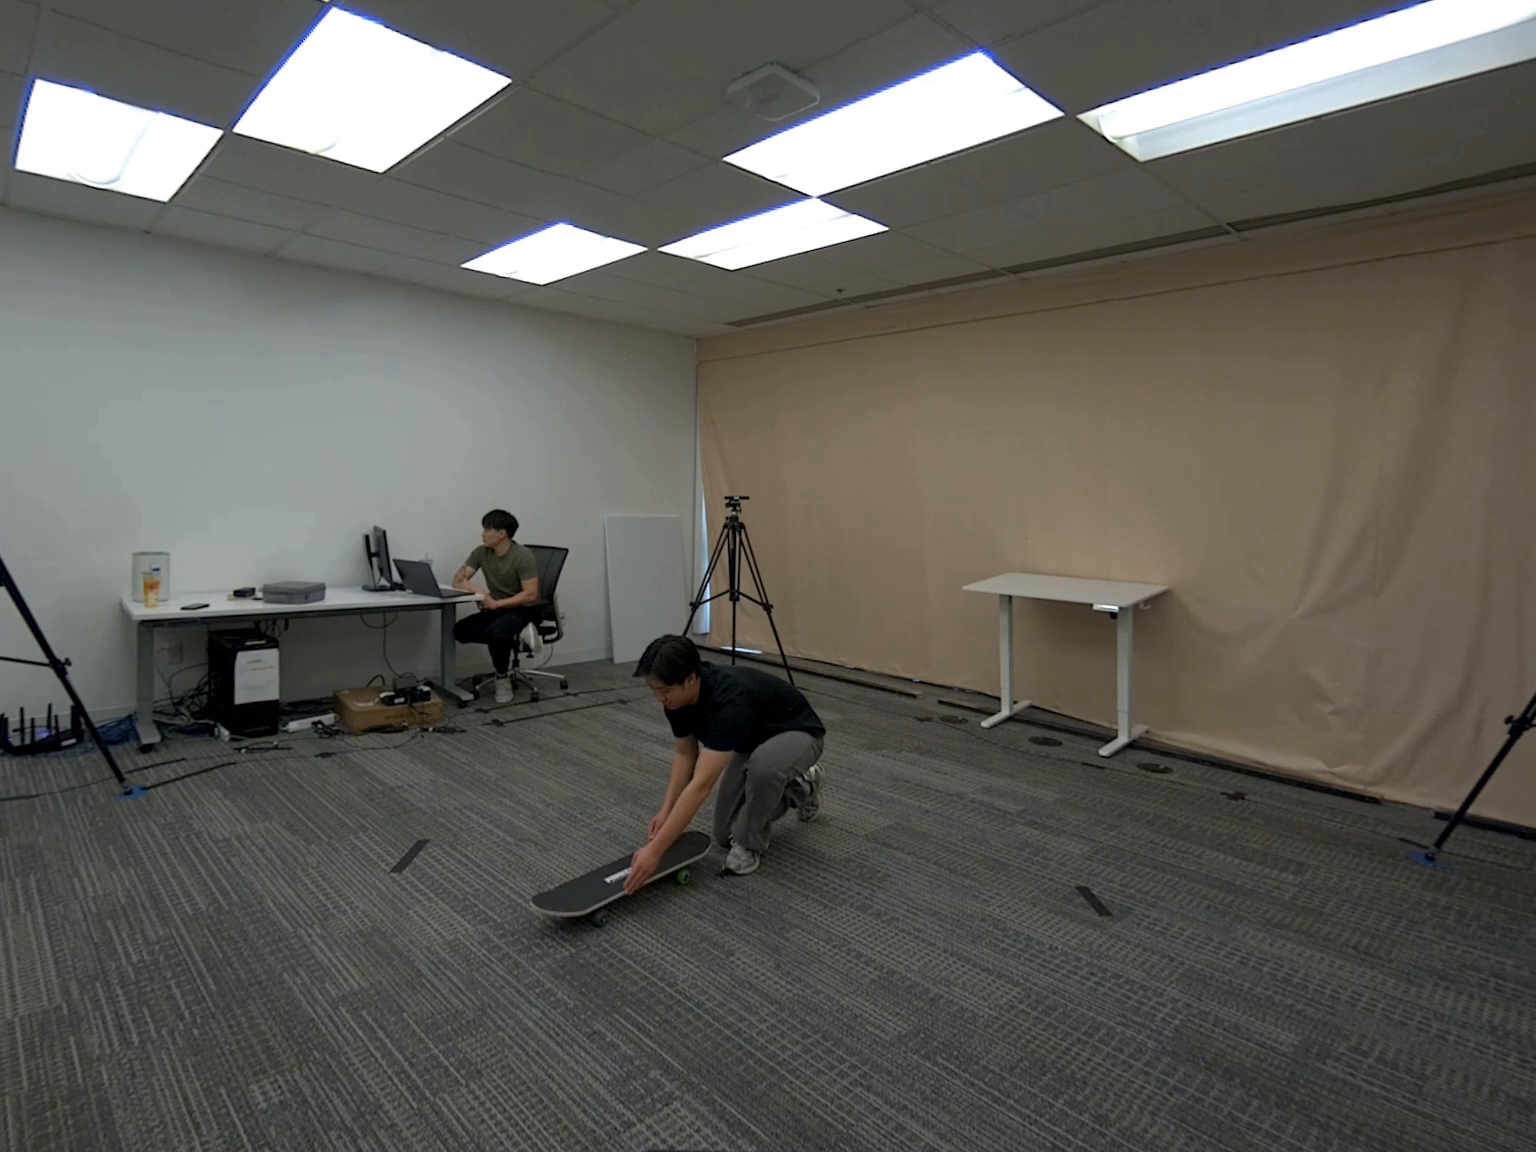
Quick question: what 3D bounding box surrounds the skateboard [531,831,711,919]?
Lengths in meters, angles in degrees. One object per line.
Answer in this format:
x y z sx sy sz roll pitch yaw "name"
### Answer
-0.489 1.057 2.913 0.198 0.110 0.768 5 6 36 "skateboard"
